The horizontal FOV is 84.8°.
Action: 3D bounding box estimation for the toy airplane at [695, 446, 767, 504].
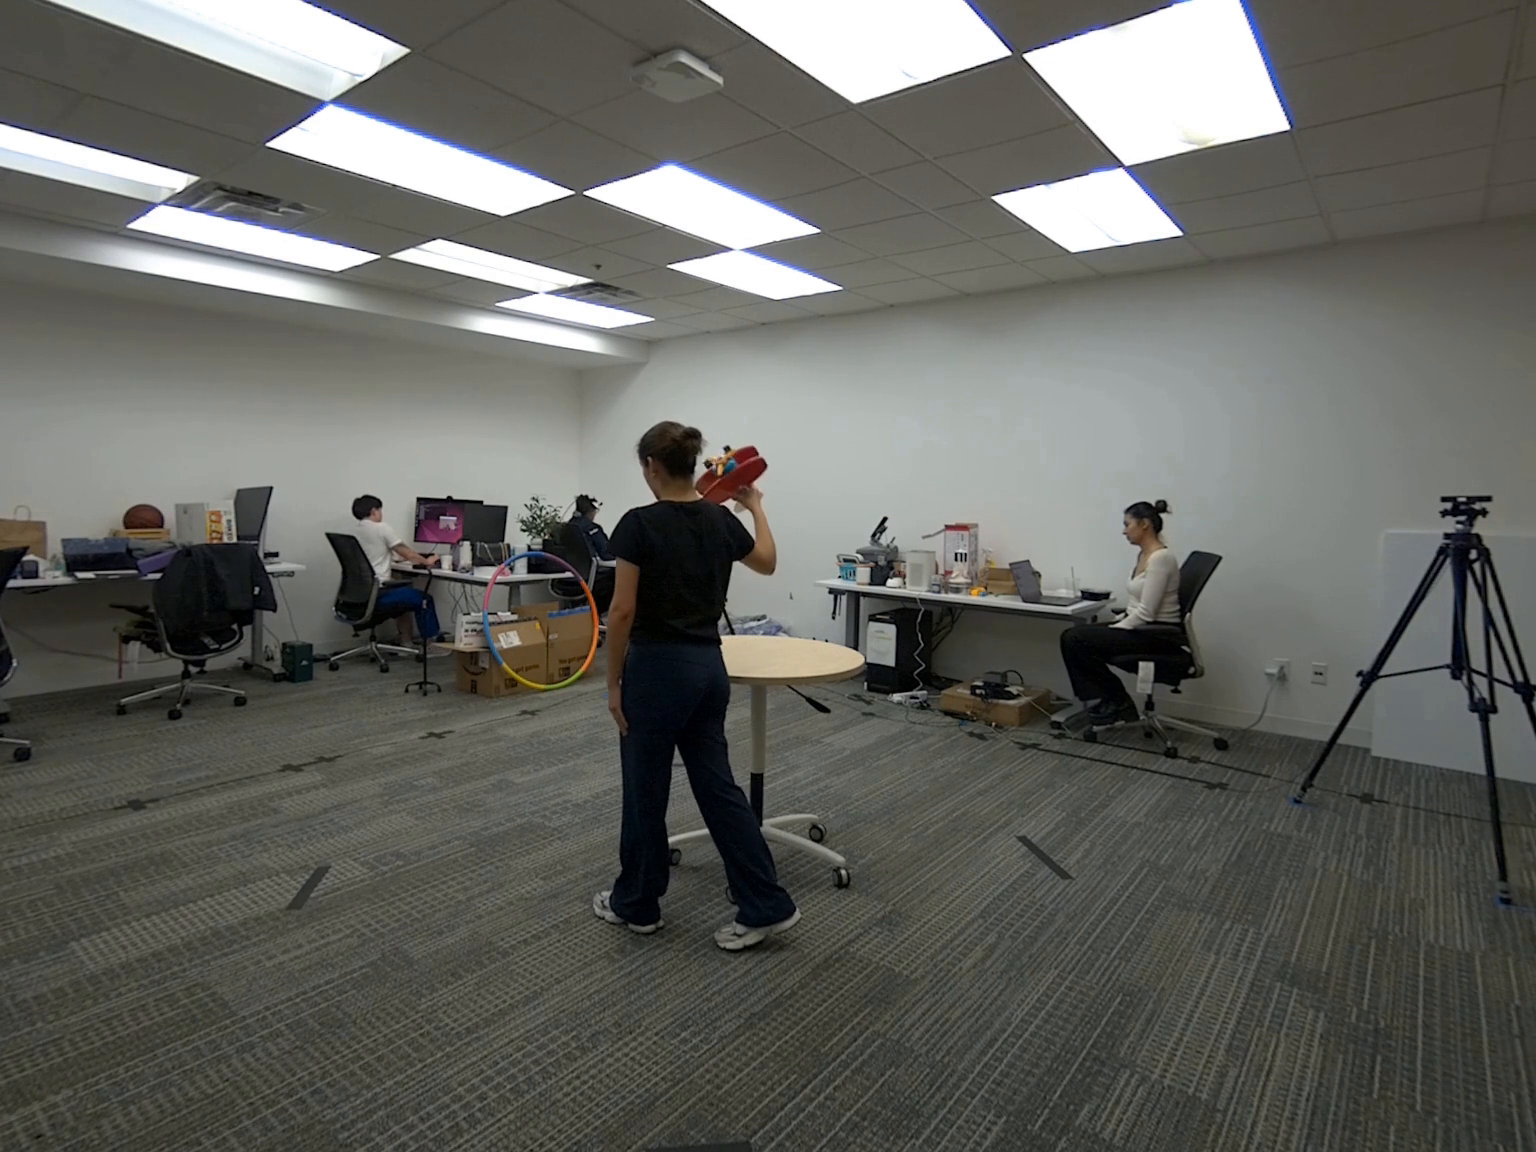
[{"bbox_3d":[-0.106,-0.335,3.029,0.252,0.250,0.162,22,18,-23],"label":"toy airplane"}]
